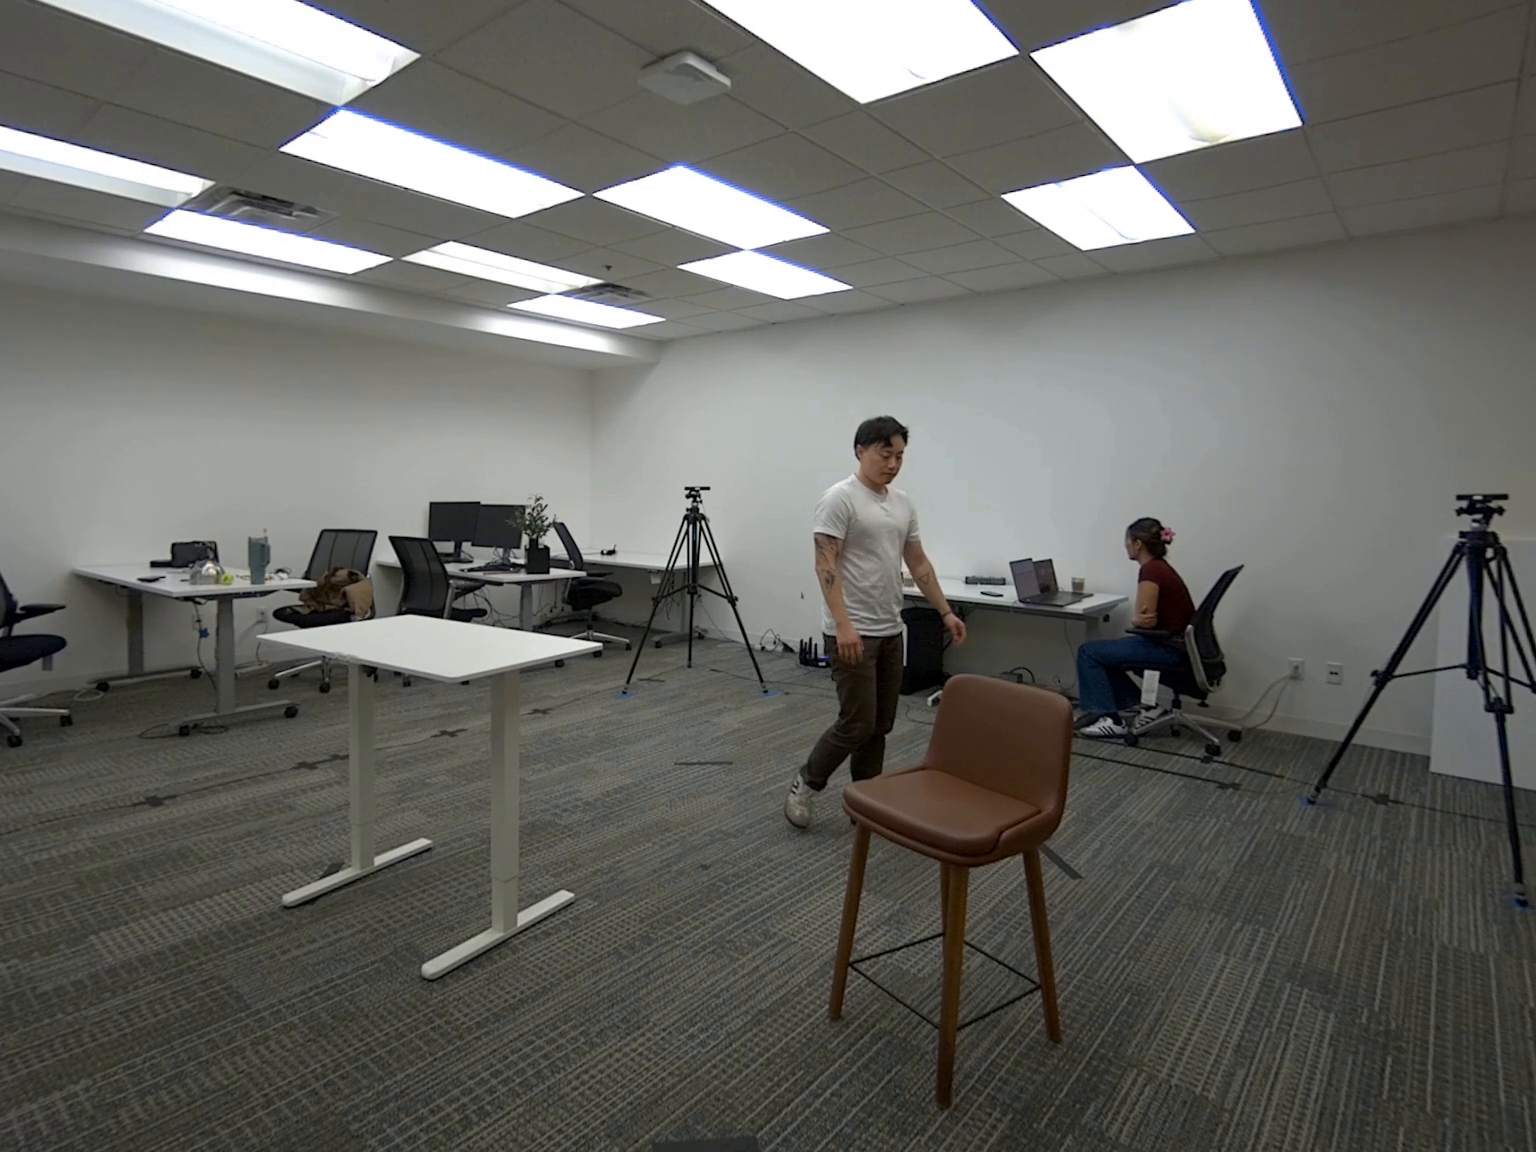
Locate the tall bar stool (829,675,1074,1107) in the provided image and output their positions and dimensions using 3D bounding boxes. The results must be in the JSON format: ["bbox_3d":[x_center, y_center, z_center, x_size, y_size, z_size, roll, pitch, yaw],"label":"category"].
[{"bbox_3d":[0.467,0.735,2.184,0.454,0.888,0.471,1,2,-35],"label":"tall bar stool"}]
